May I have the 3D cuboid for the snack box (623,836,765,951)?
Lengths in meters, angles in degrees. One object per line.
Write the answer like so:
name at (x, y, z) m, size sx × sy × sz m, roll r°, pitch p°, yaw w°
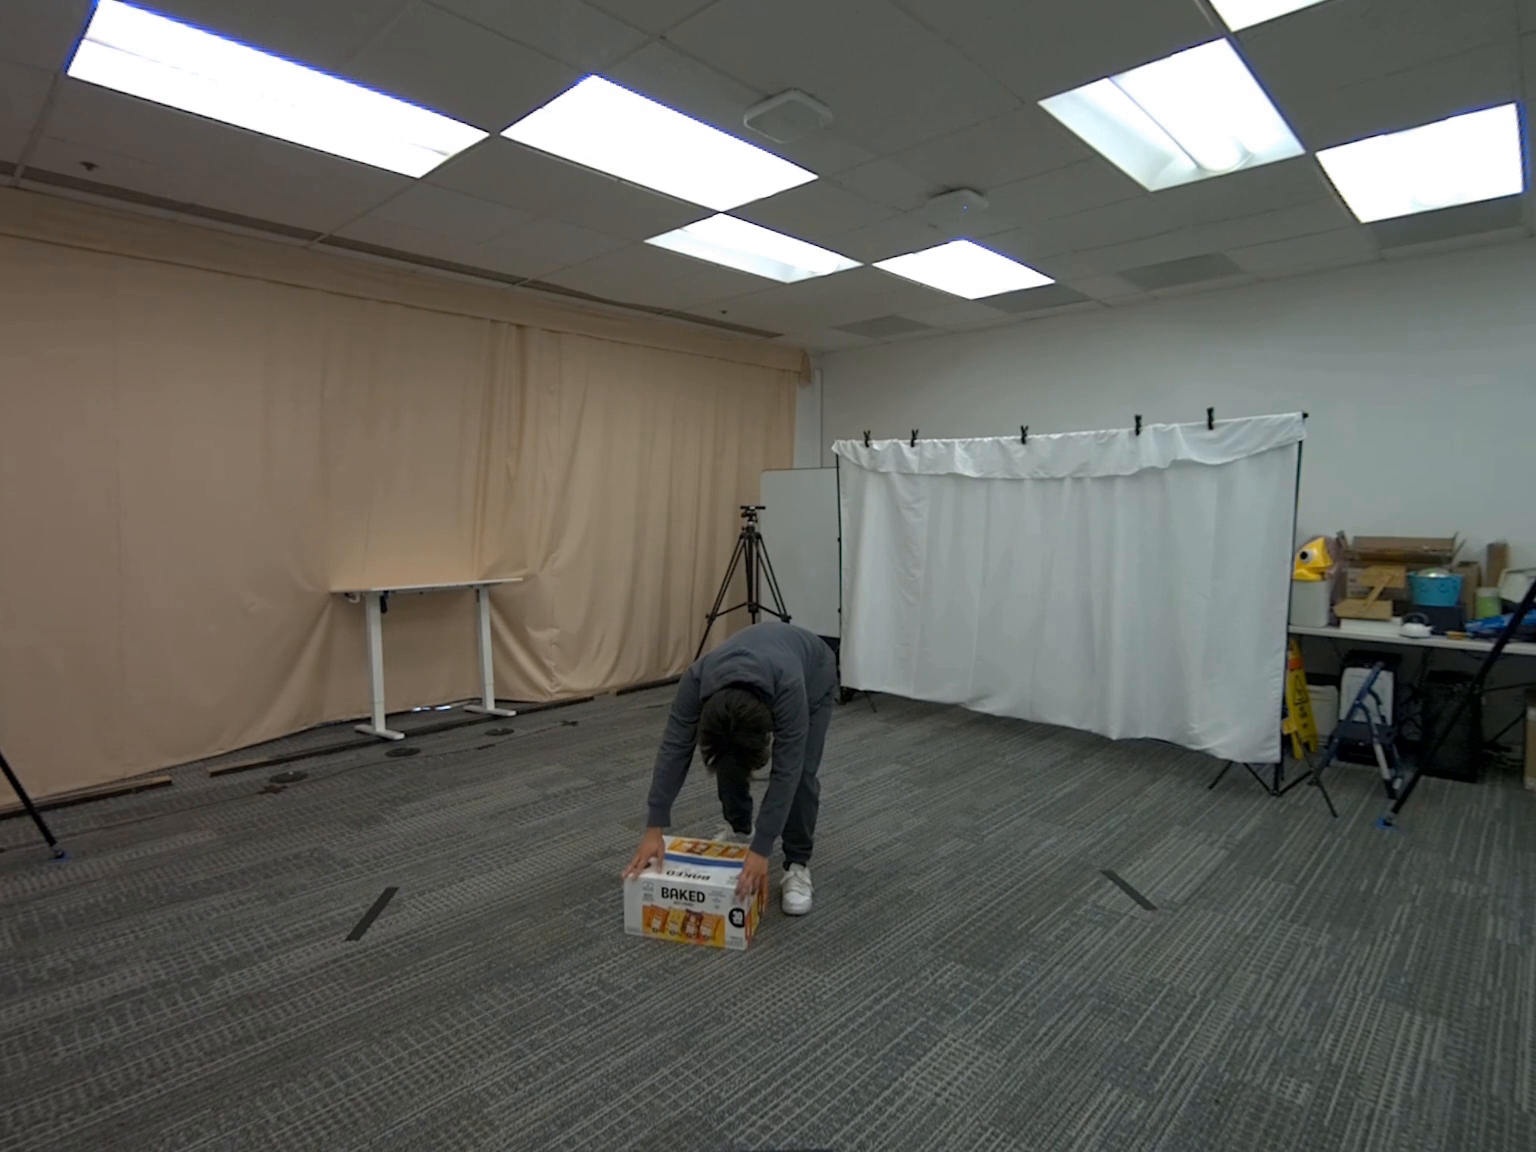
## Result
snack box at (-0.232, 1.059, 2.838) m, size 0.411 × 0.205 × 0.336 m, roll 0°, pitch 4°, yaw 14°
